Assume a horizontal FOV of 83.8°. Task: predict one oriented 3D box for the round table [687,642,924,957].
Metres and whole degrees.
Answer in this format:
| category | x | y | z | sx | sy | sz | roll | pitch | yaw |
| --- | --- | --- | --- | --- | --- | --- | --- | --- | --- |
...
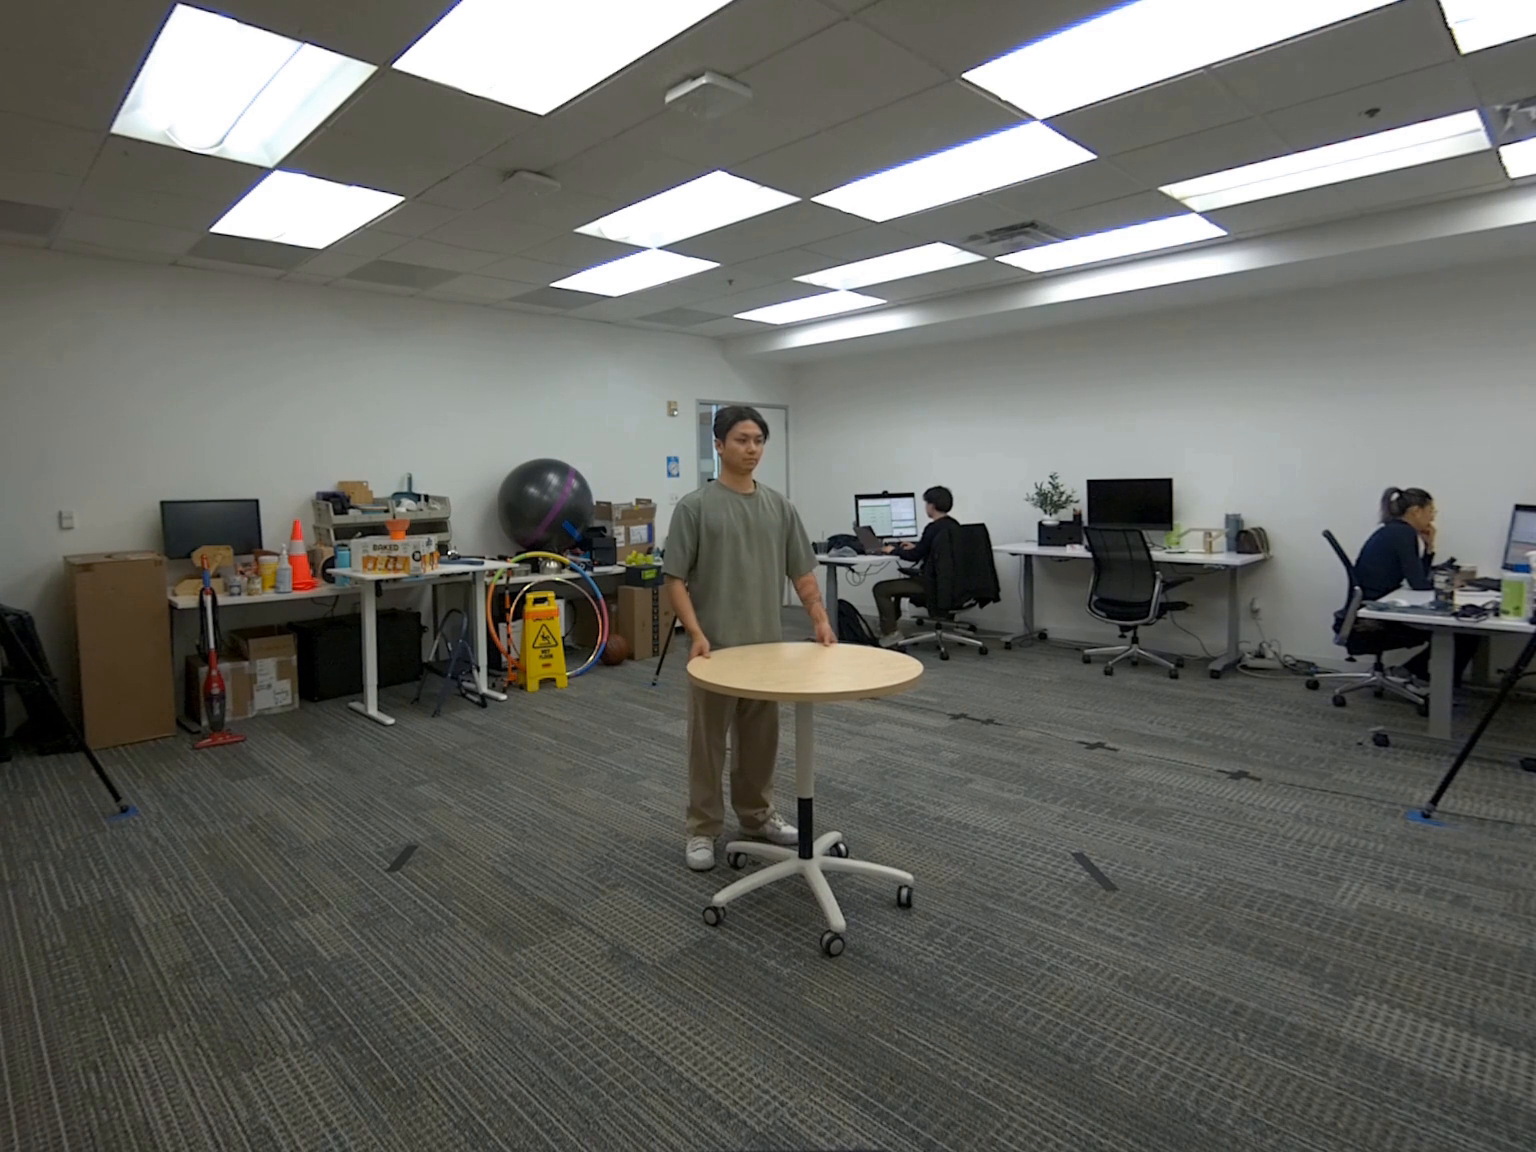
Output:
| category | x | y | z | sx | sy | sz | roll | pitch | yaw |
| --- | --- | --- | --- | --- | --- | --- | --- | --- | --- |
| round table | 0.124 | 0.682 | 2.802 | 0.784 | 0.784 | 0.789 | -1 | 4 | -2 |
